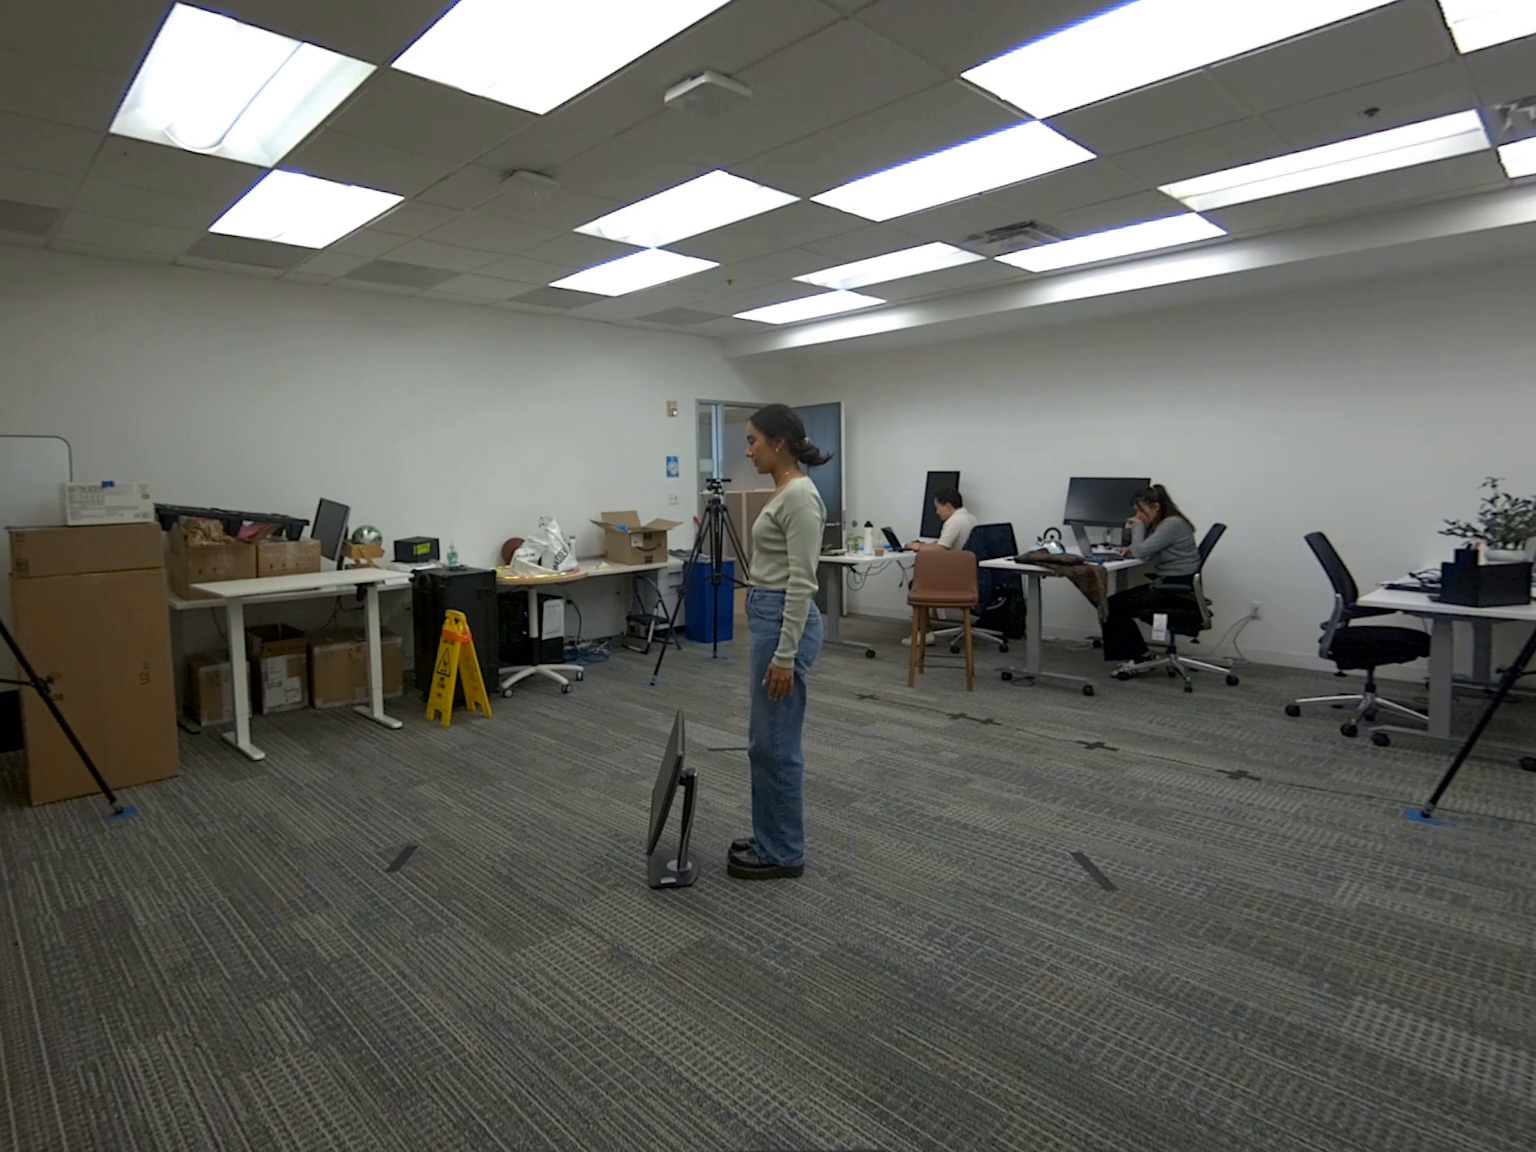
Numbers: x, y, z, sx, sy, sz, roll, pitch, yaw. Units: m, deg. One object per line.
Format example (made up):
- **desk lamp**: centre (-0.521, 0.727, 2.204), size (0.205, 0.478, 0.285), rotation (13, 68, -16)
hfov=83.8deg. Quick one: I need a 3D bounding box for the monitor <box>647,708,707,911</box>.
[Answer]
- **monitor**: centre (-0.326, 0.799, 3.043), size (0.174, 0.514, 0.535), rotation (-2, 5, -6)
